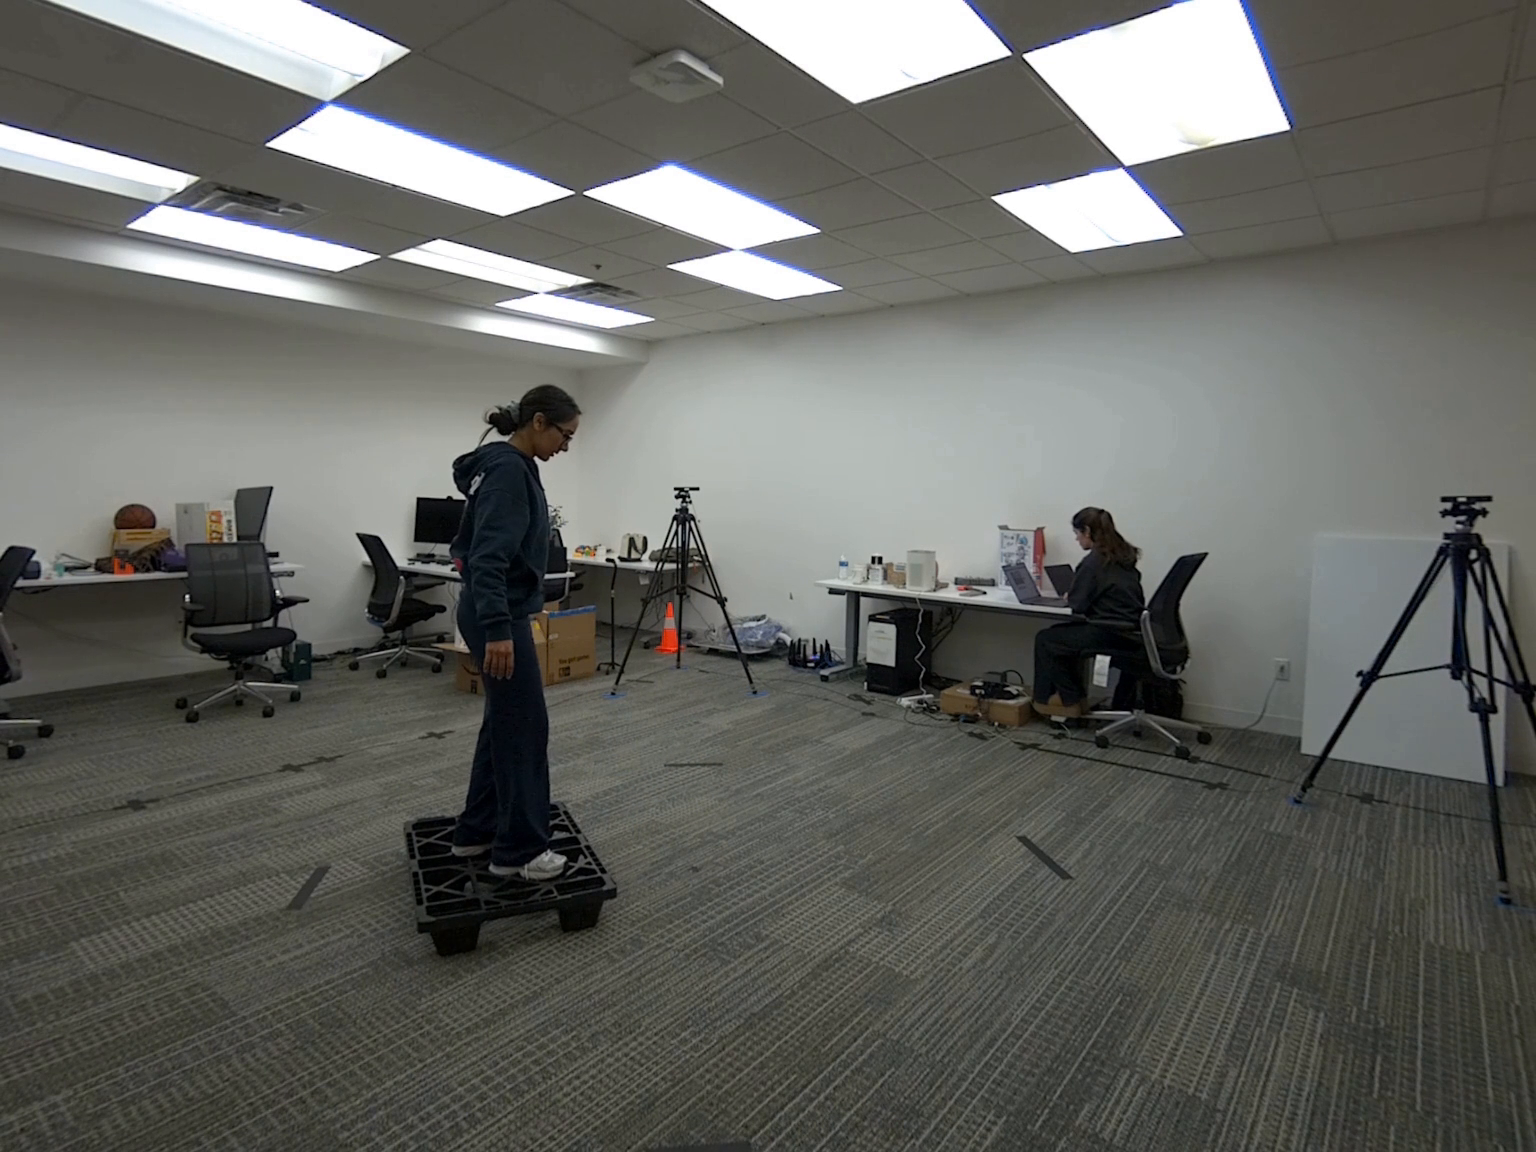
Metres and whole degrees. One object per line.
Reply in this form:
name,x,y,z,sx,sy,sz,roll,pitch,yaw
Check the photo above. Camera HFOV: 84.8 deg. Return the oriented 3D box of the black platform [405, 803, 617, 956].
black platform,-0.925,1.006,2.924,0.591,0.143,0.828,-2,7,-25
